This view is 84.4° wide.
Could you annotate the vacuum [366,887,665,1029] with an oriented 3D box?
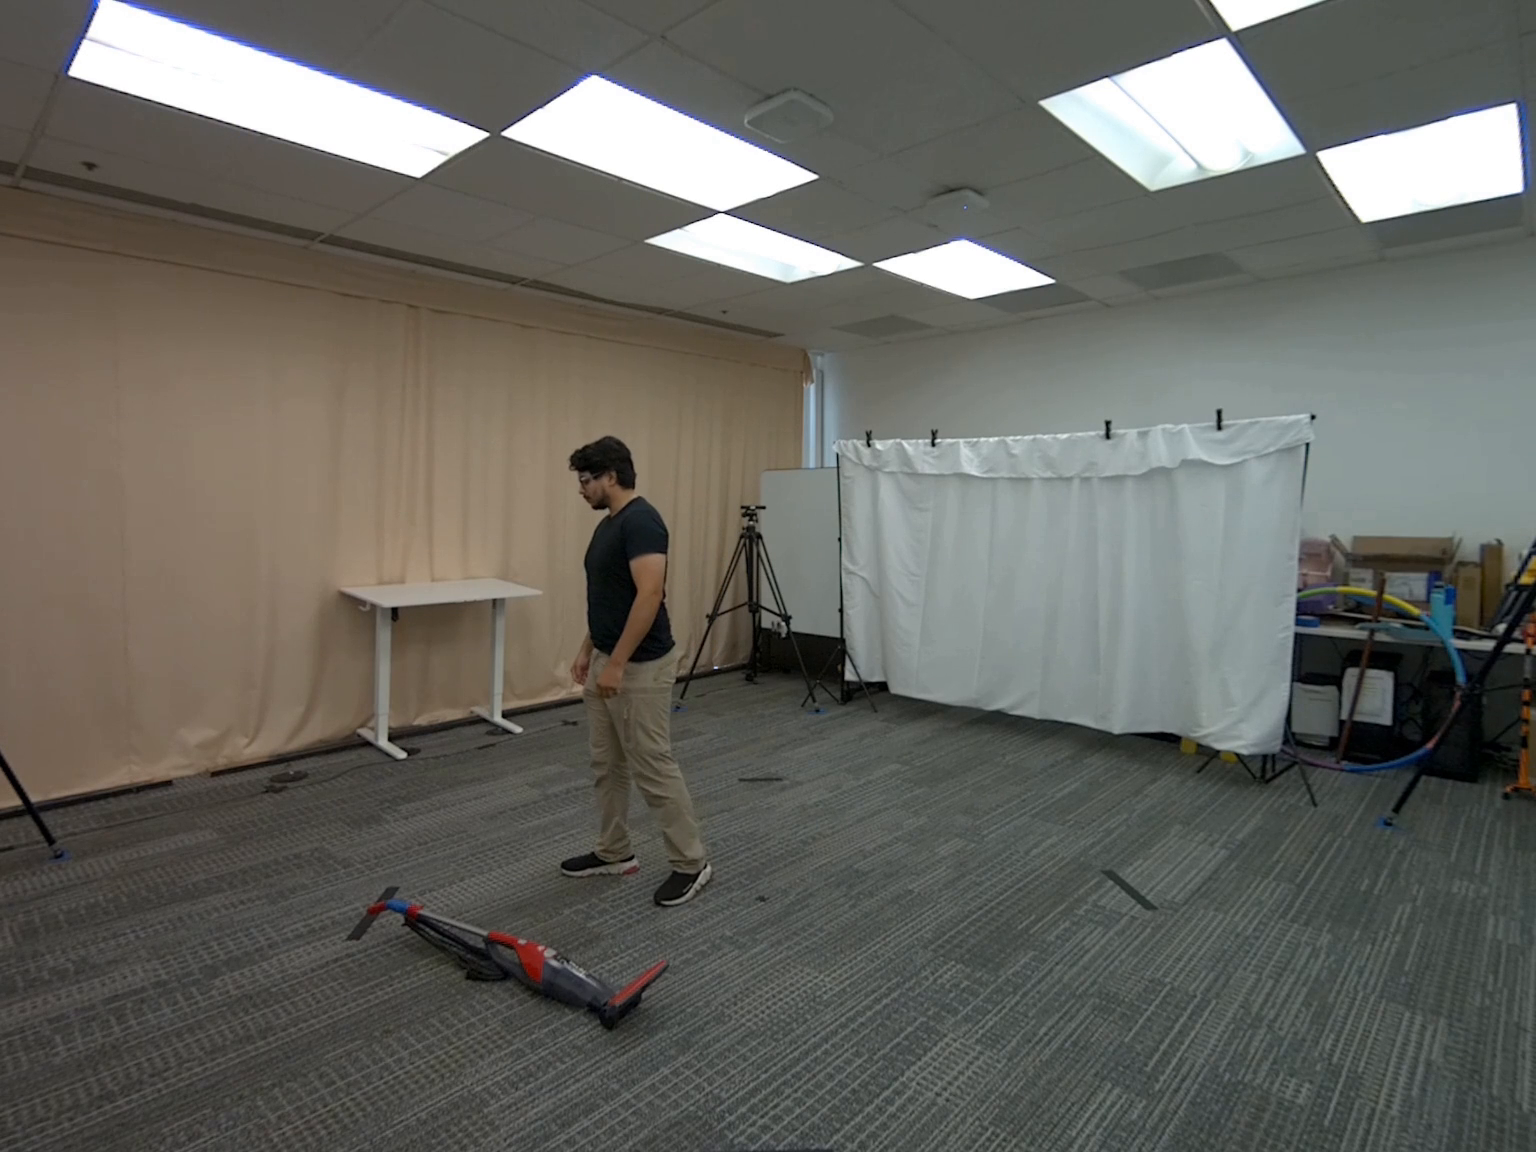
[{"bbox_3d":[-0.845,1.129,2.528,1.078,0.144,0.246,2,1,27],"label":"vacuum"}]
